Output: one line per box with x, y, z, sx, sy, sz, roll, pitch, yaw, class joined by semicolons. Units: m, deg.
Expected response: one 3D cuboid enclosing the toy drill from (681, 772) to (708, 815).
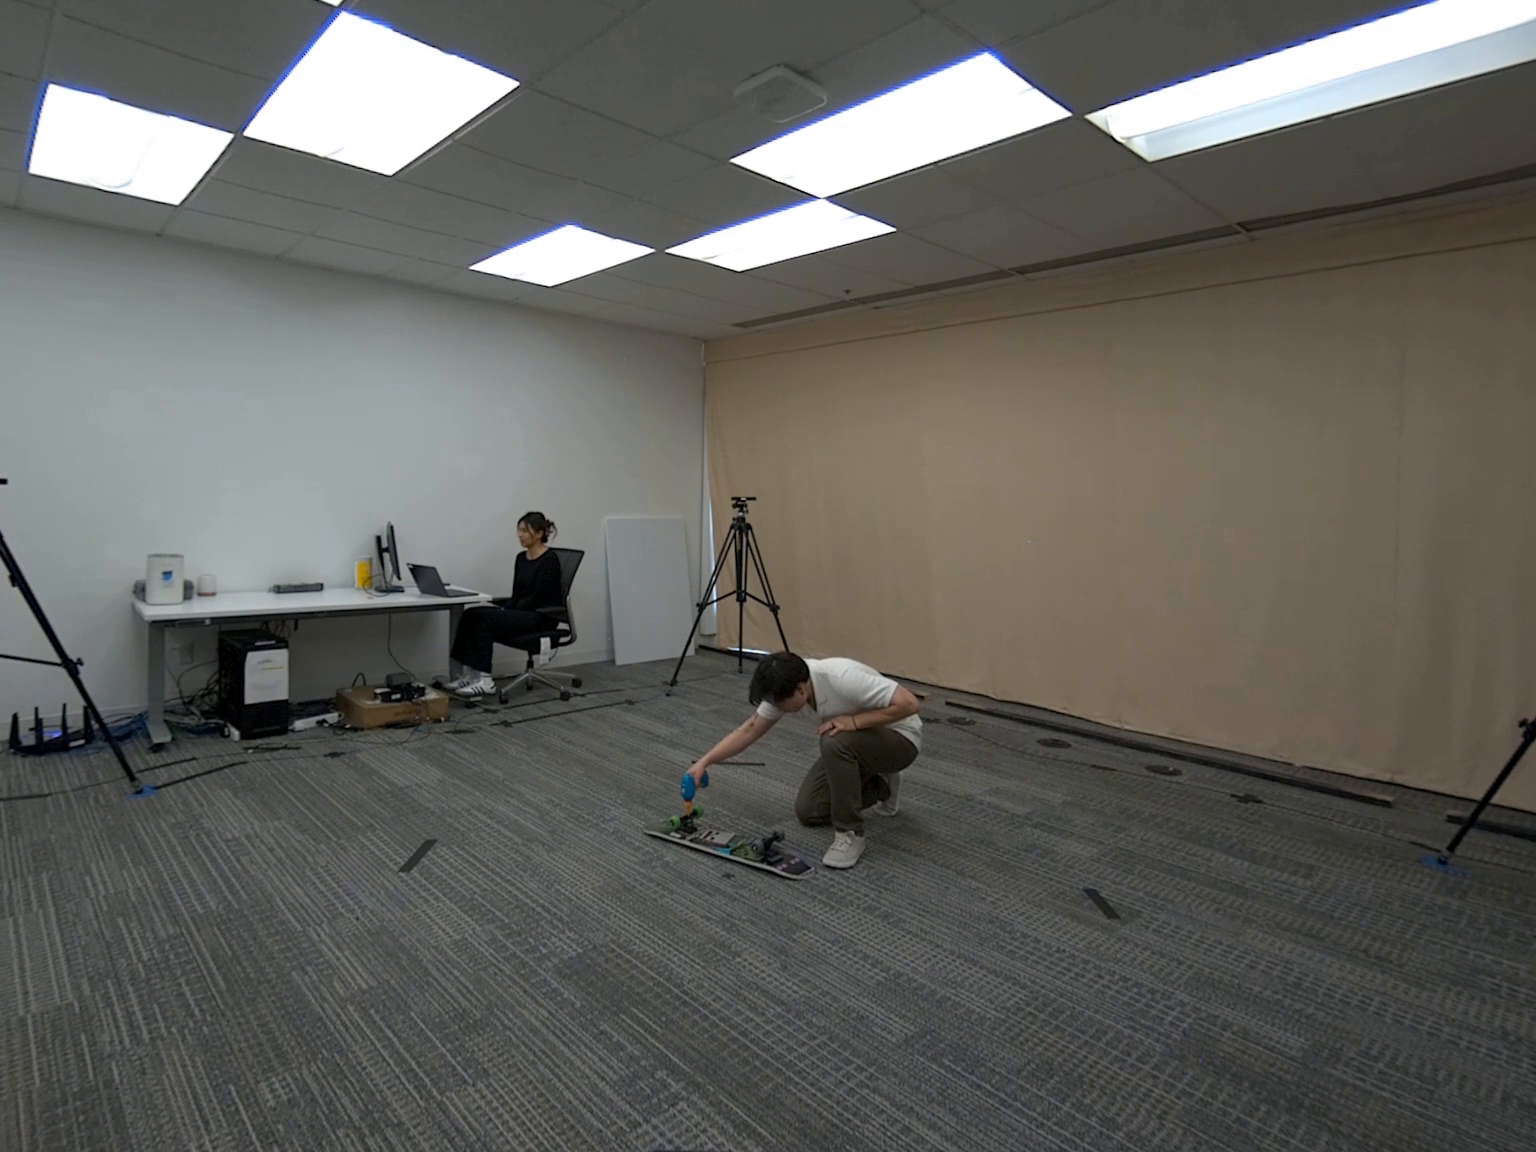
-0.312;0.888;3.476;0.062;0.170;0.142;-5;-4;33;toy drill
